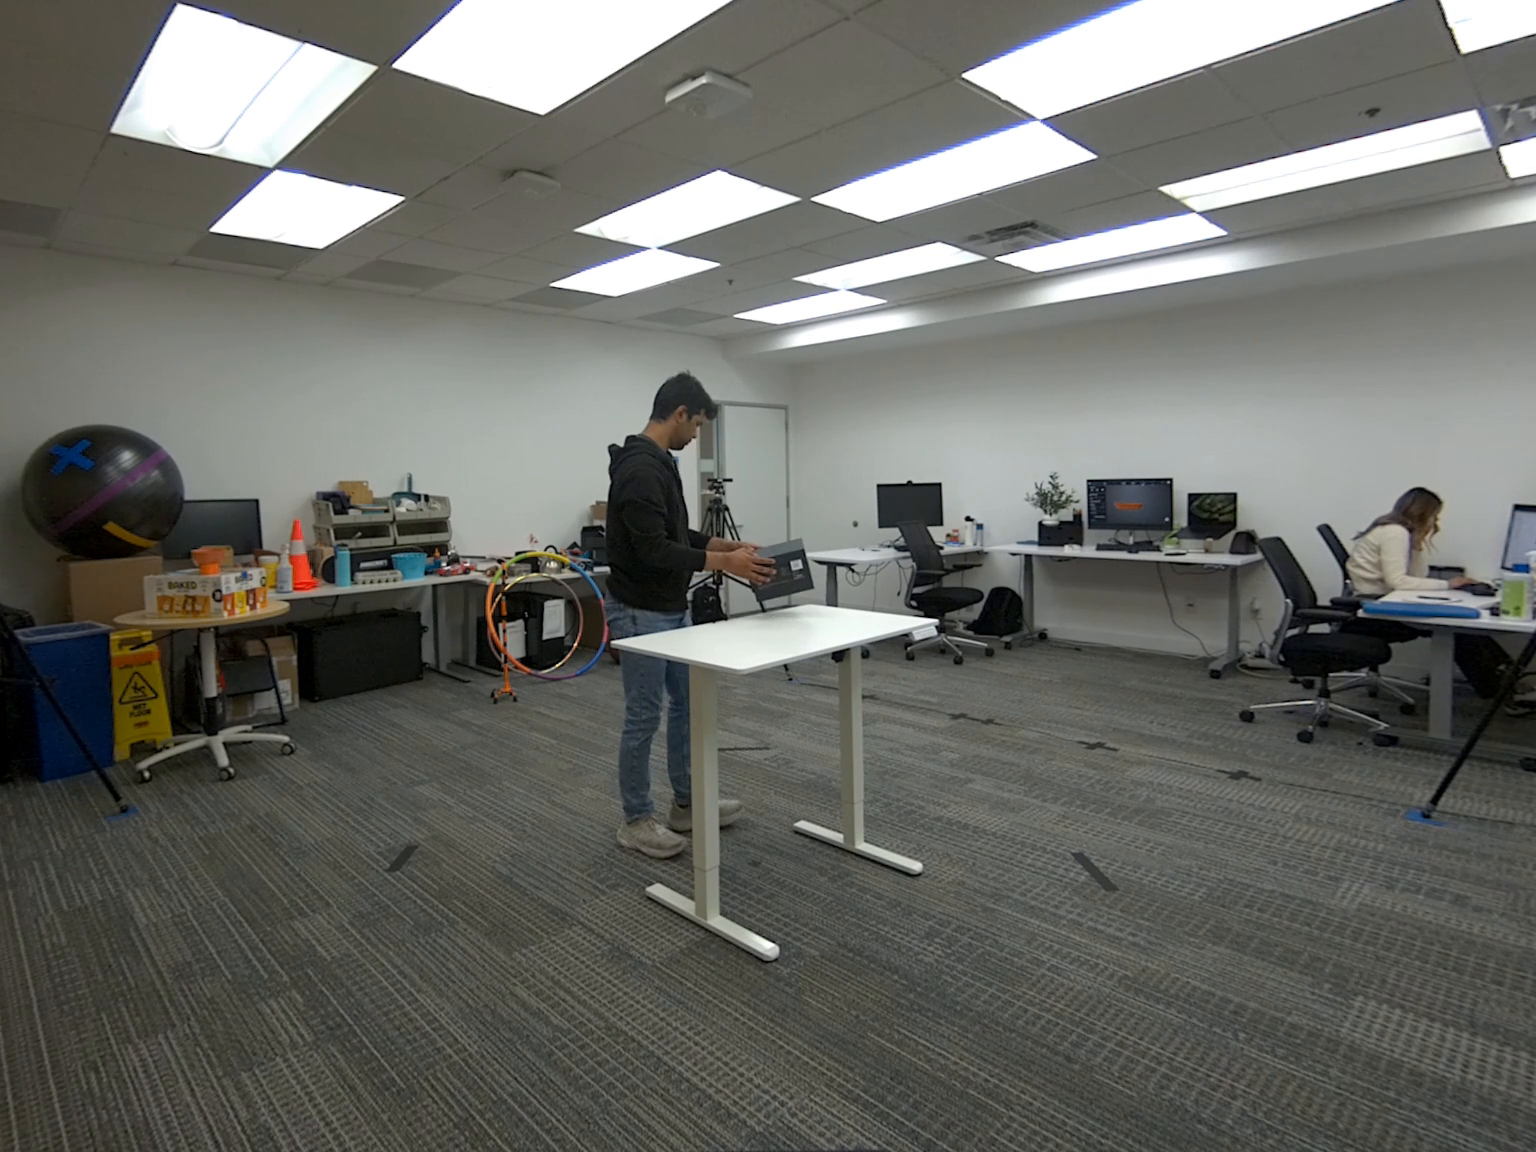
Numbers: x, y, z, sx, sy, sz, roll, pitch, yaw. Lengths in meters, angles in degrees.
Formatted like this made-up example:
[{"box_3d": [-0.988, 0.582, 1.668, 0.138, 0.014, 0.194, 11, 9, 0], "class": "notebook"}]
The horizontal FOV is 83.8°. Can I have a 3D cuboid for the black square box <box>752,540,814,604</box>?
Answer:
[{"box_3d": [0.036, -0.024, 3.225, 0.218, 0.154, 0.229, -10, 12, 5], "class": "black square box"}]
